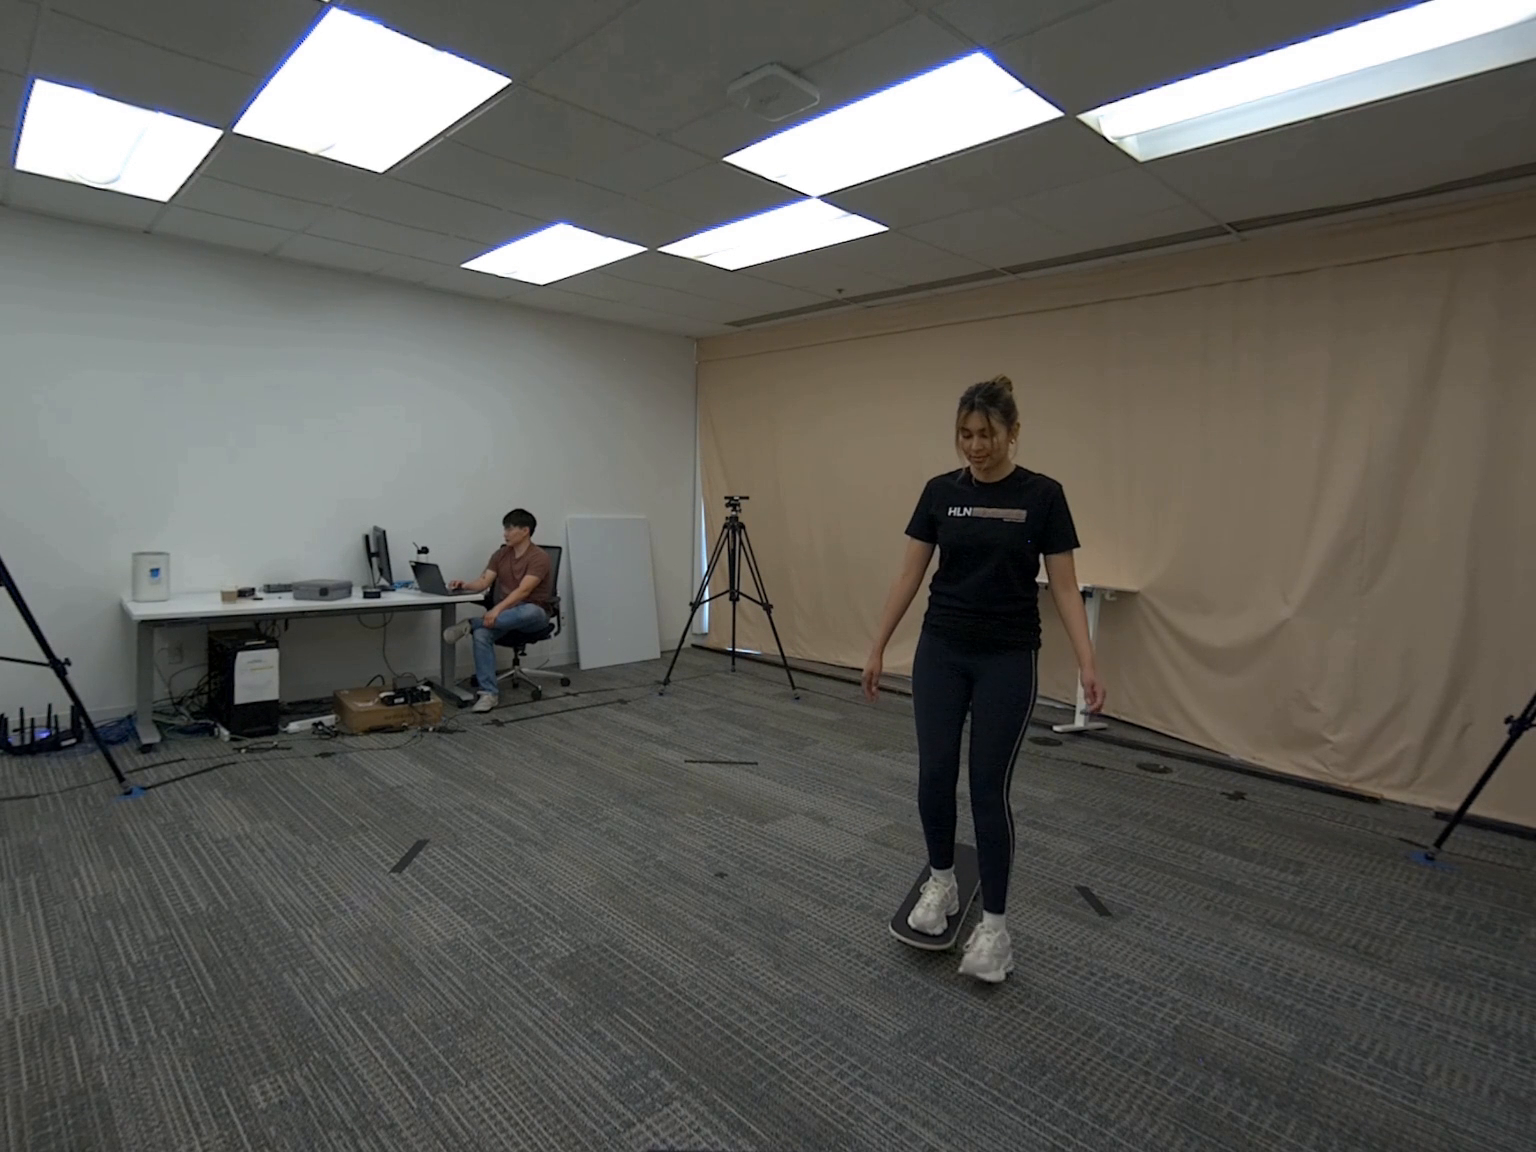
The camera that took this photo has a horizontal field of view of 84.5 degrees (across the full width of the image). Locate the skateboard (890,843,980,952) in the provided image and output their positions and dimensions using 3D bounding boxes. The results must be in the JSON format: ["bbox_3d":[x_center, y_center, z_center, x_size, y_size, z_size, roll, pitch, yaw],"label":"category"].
[{"bbox_3d":[0.578,1.095,2.818,0.197,0.110,0.773,7,8,24],"label":"skateboard"}]
